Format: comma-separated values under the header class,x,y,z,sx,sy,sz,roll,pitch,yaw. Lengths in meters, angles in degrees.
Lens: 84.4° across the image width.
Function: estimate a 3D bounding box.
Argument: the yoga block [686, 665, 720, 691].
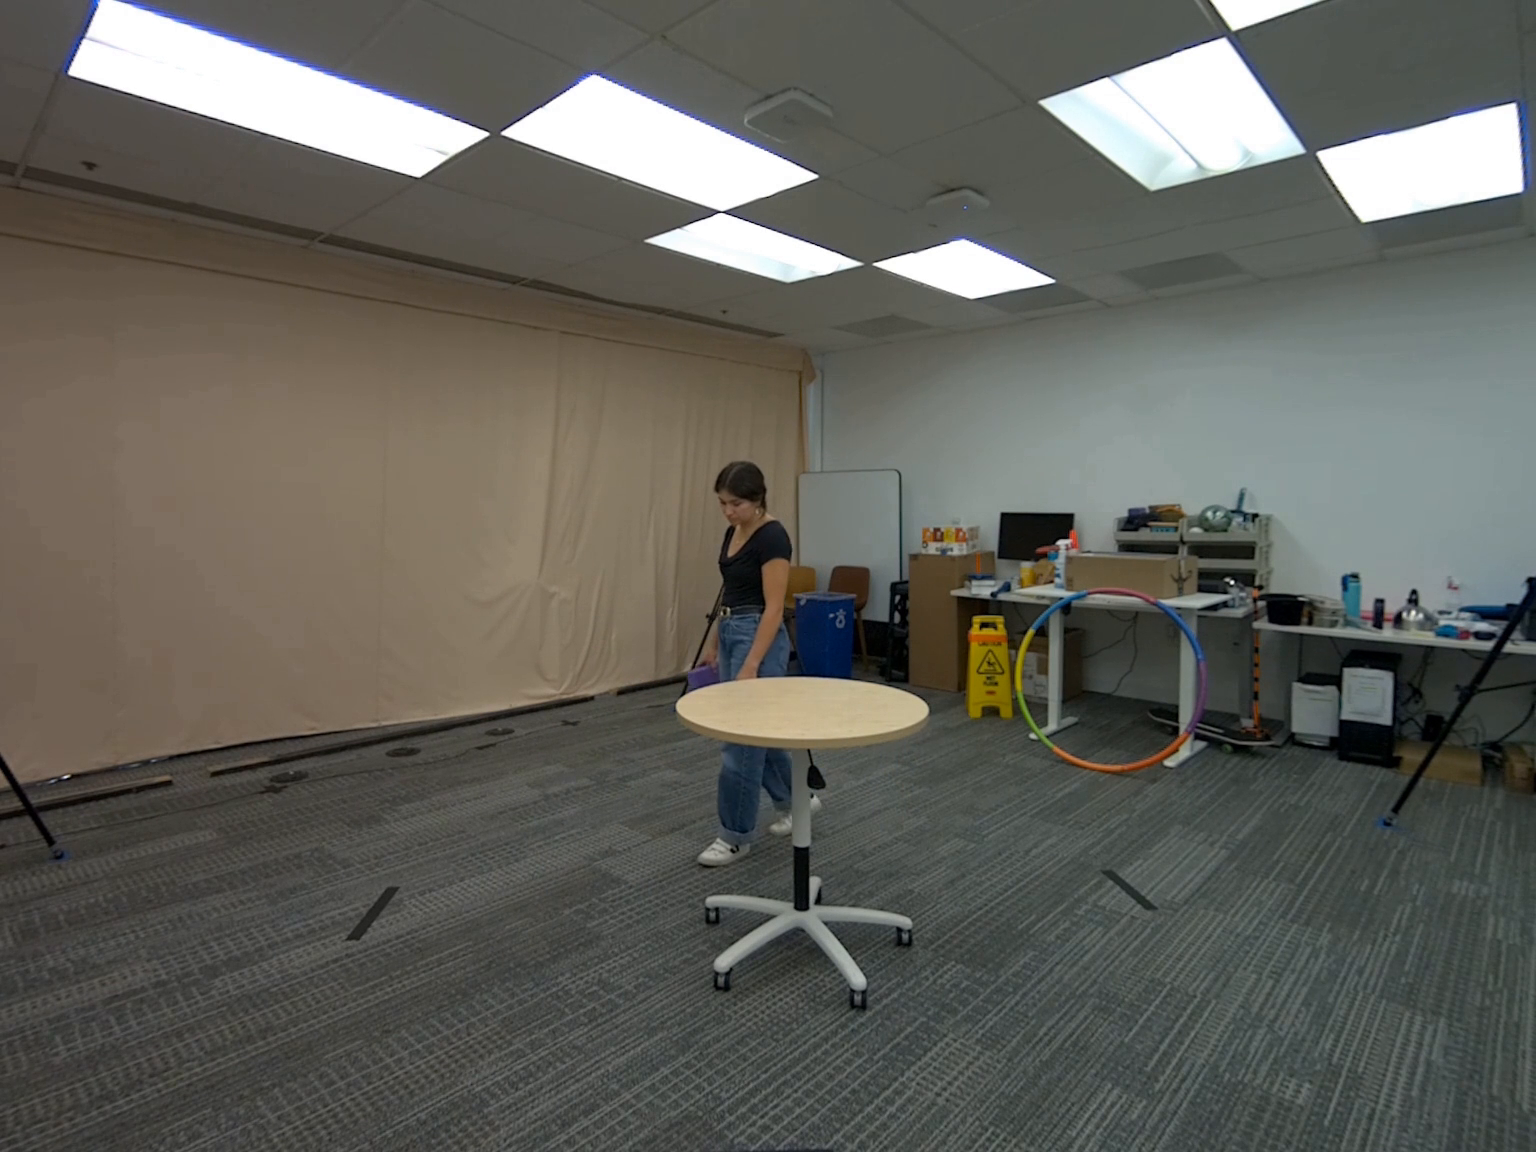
class,x,y,z,sx,sy,sz,roll,pitch,yaw
yoga block,-0.226,0.457,3.642,0.223,0.149,0.078,-12,0,-44
